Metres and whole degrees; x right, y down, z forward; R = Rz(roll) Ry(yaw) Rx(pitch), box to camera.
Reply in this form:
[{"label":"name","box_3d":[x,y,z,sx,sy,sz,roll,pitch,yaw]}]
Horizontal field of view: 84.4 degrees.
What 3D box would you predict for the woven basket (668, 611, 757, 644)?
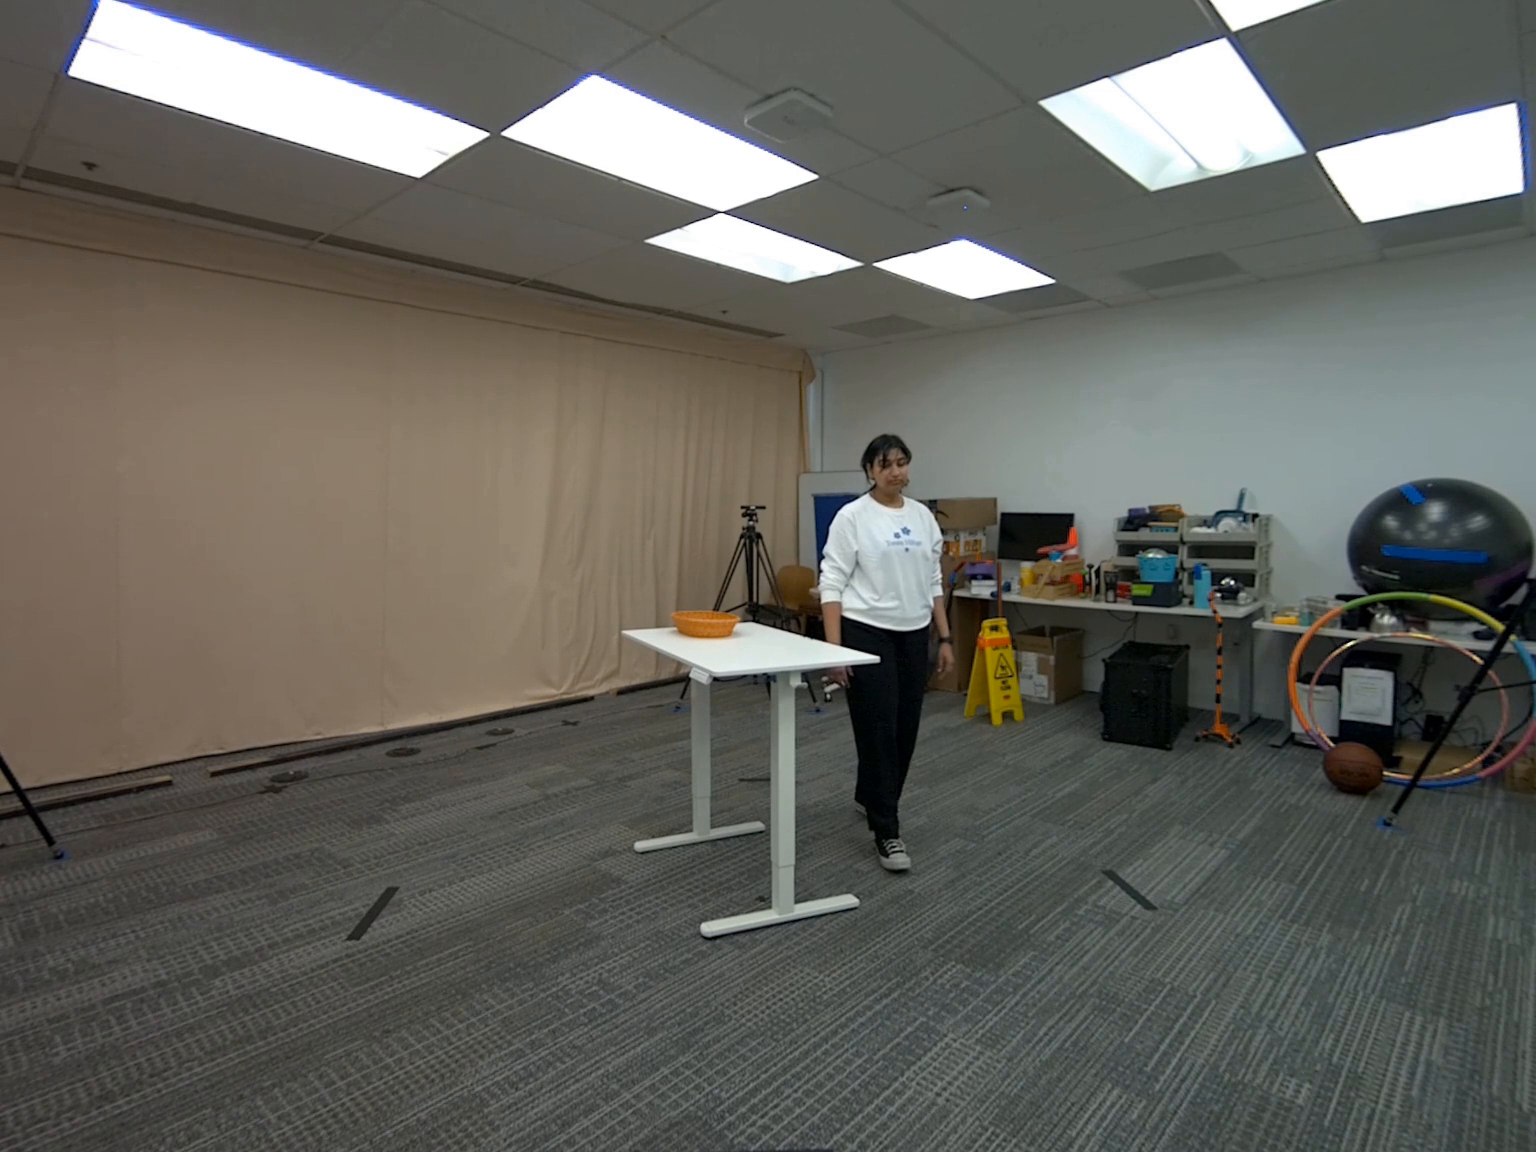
[{"label":"woven basket","box_3d":[-0.230,0.202,3.391,0.247,0.073,0.358,-2,4,-21]}]
